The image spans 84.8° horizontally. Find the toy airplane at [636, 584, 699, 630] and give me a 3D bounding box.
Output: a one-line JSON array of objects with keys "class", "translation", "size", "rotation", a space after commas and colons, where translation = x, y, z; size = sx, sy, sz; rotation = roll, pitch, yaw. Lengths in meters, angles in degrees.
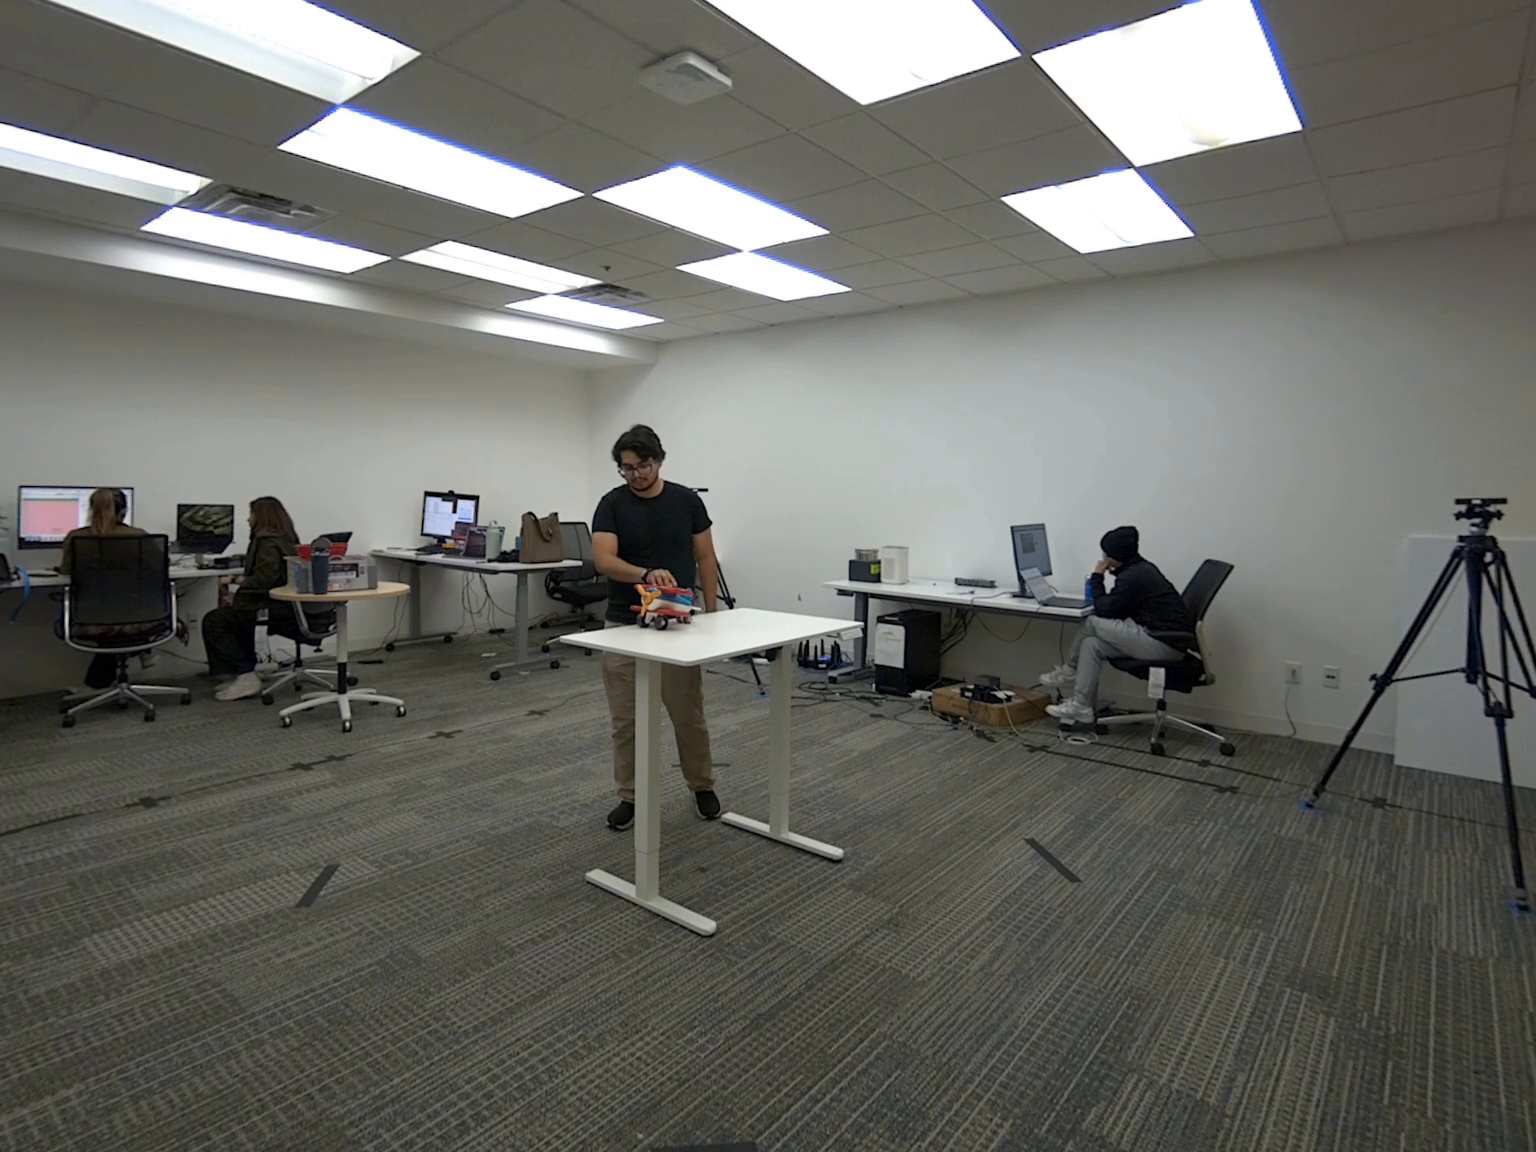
[{"class": "toy airplane", "translation": [-0.405, 0.105, 3.149], "size": [0.253, 0.156, 0.258], "rotation": [1, 6, 7]}]
